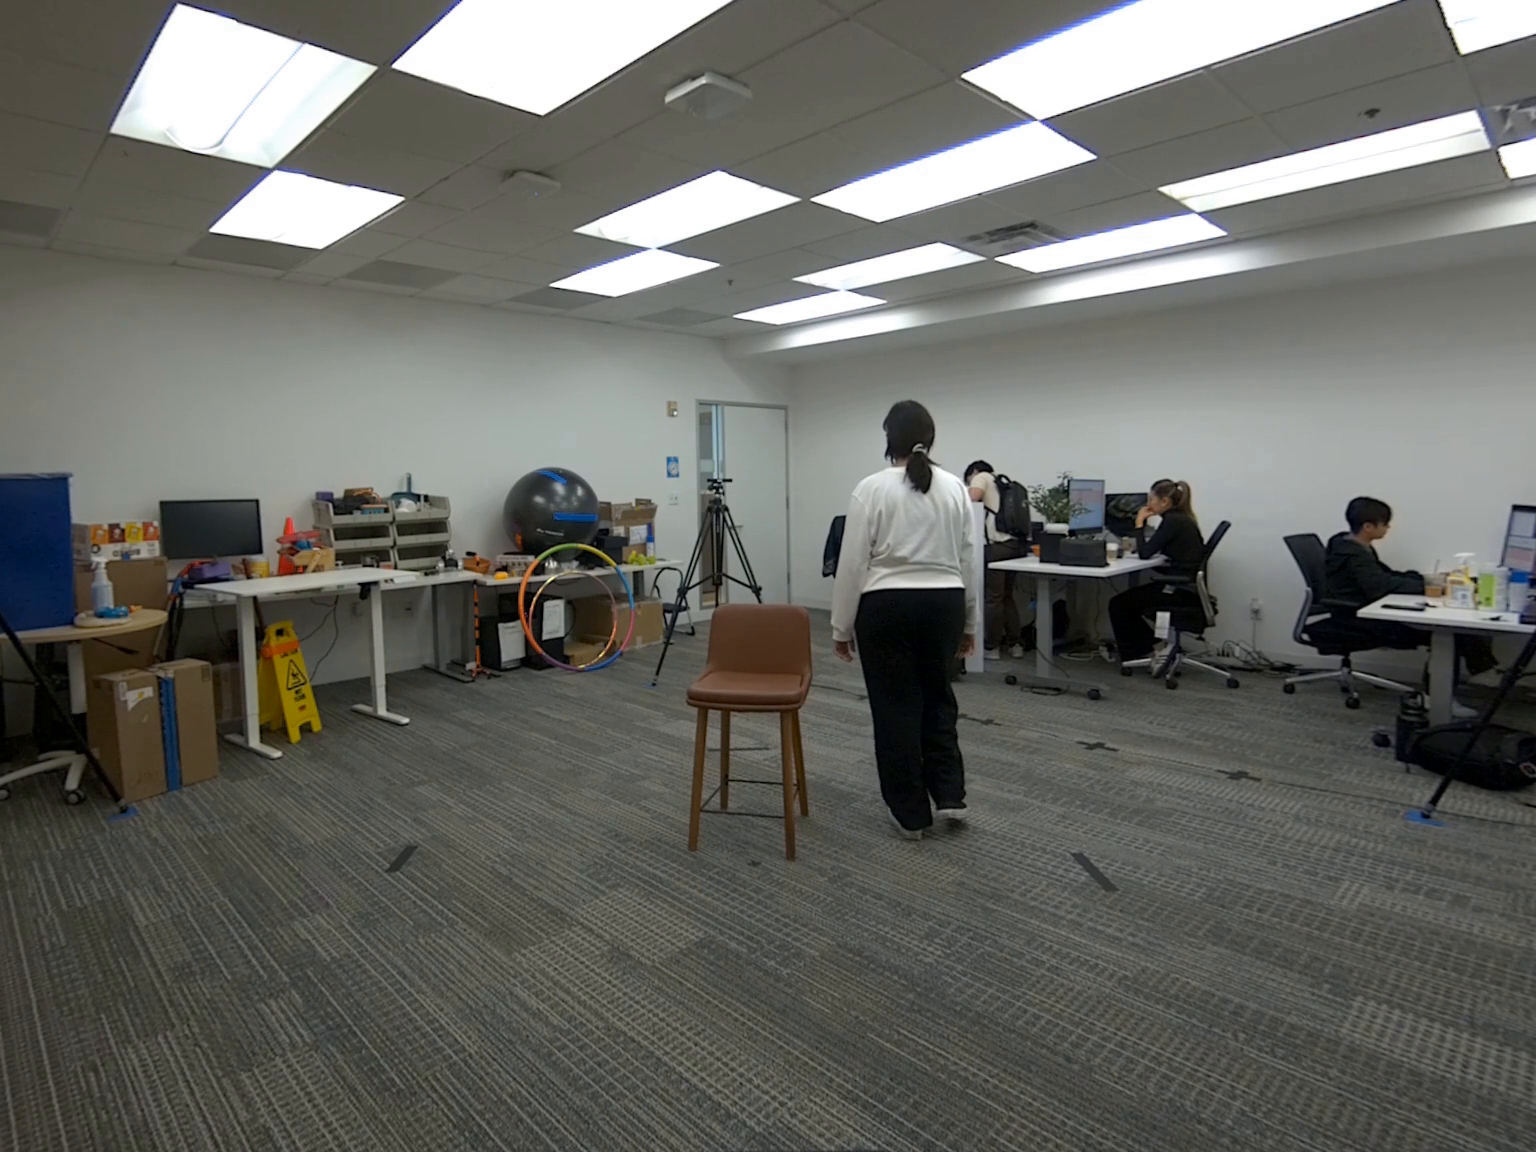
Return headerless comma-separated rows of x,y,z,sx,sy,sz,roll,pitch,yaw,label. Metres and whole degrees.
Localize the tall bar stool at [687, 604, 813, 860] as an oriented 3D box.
-0.060,0.581,3.373,0.463,0.888,0.462,1,2,14,tall bar stool
